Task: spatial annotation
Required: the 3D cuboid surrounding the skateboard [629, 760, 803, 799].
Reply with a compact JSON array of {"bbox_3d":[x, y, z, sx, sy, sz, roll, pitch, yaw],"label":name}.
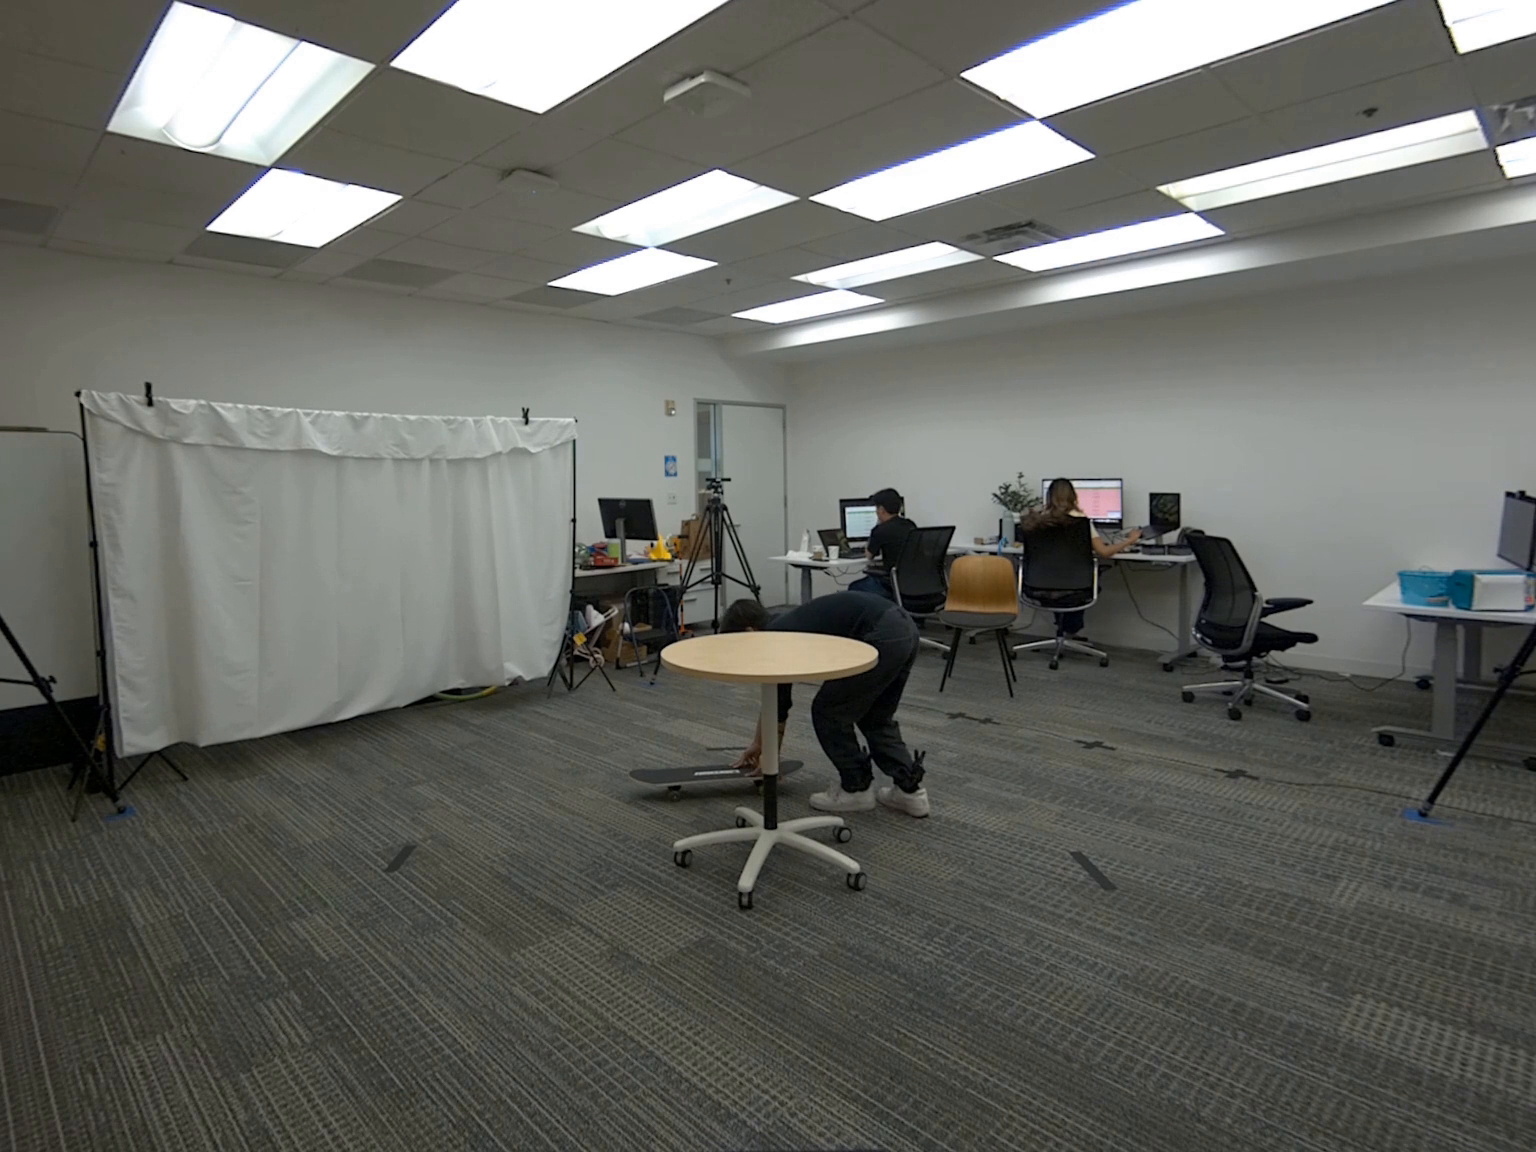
[{"bbox_3d":[-0.224,0.911,3.821,0.780,0.110,0.195,-2,5,-7],"label":"skateboard"}]
